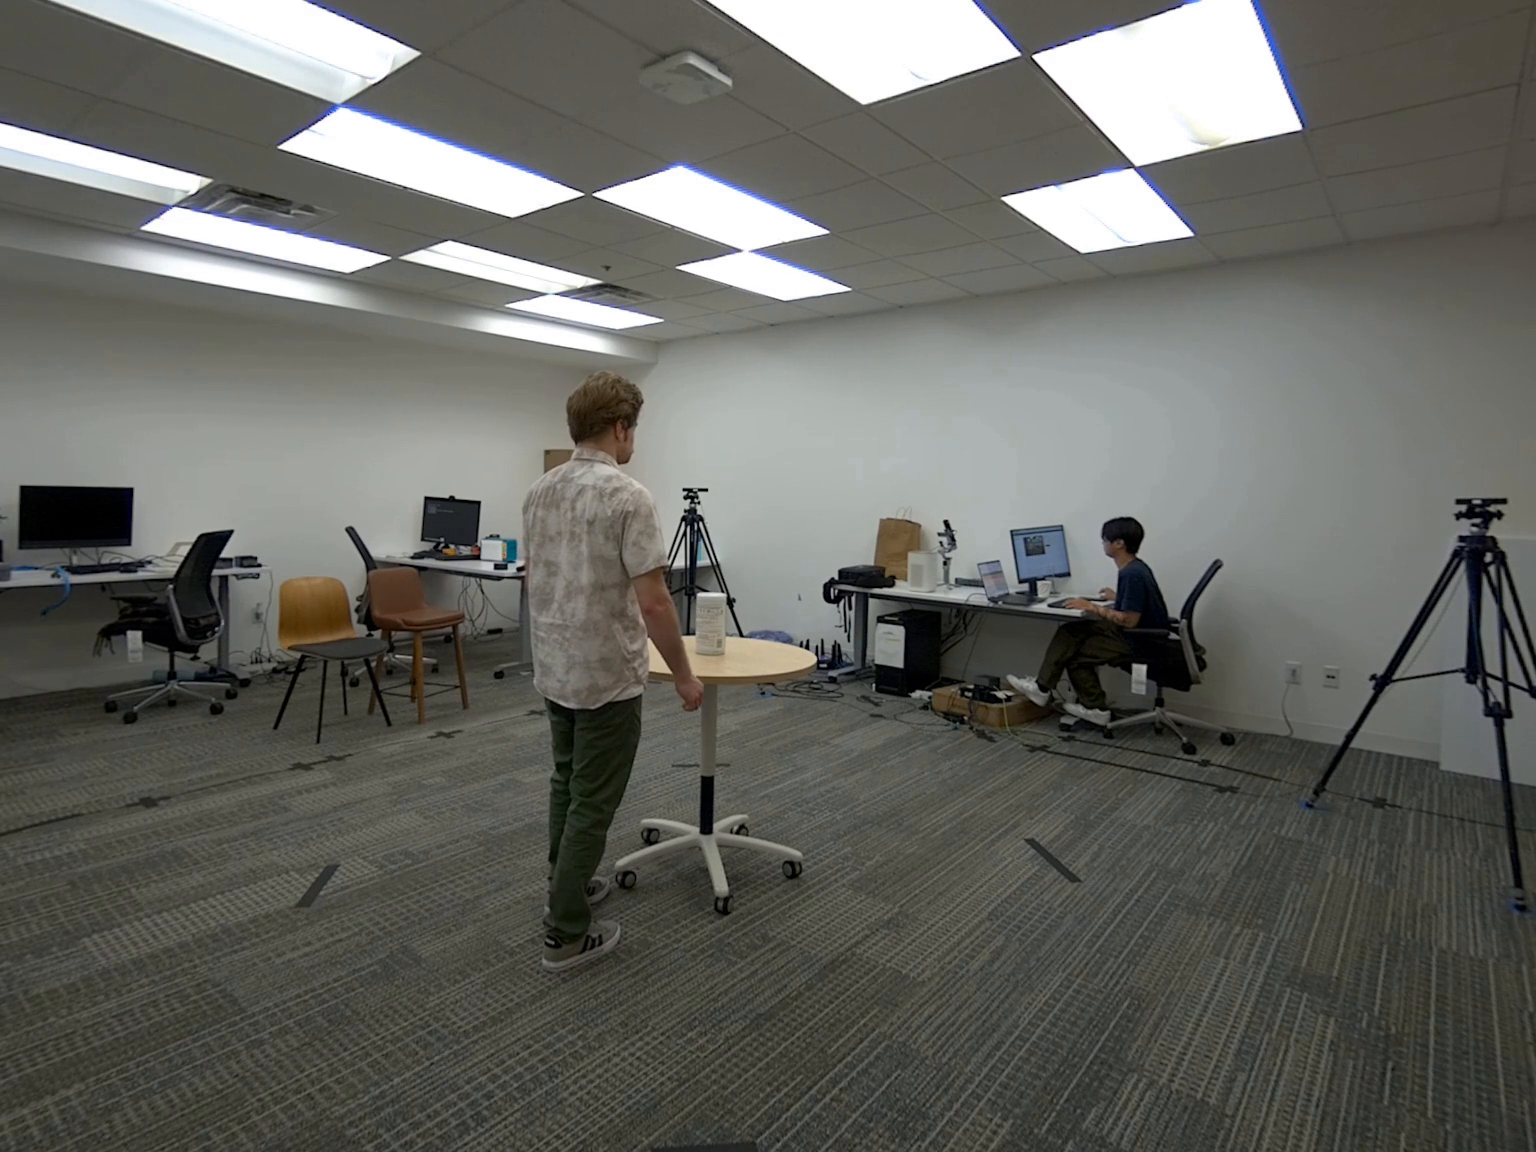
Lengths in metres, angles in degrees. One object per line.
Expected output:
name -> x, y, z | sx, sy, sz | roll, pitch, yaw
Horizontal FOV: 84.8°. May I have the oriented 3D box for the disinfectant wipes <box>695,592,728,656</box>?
disinfectant wipes -> -0.215, 0.170, 3.077 | 0.118, 0.217, 0.118 | 1, 3, -2
